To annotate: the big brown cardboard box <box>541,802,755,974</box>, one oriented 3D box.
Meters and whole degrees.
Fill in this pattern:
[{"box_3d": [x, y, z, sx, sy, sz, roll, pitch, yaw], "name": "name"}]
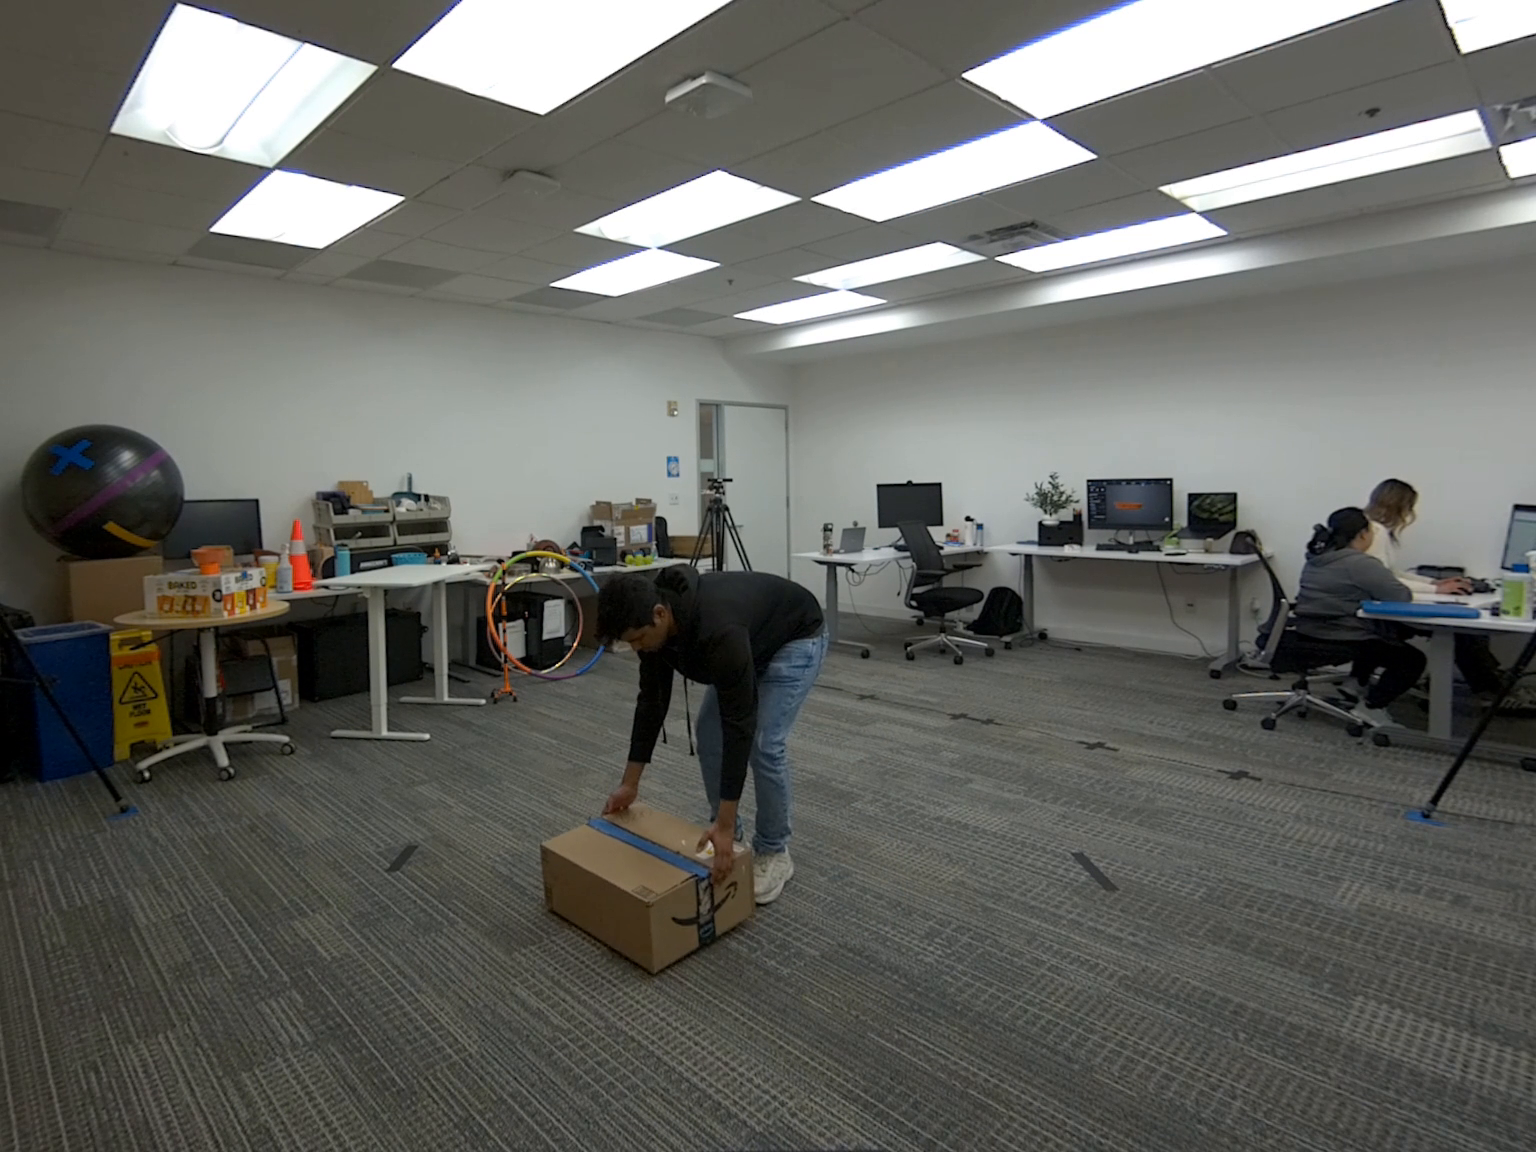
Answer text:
[{"box_3d": [-0.382, 0.946, 2.717, 0.607, 0.232, 0.407, 4, 10, 45], "name": "big brown cardboard box"}]
